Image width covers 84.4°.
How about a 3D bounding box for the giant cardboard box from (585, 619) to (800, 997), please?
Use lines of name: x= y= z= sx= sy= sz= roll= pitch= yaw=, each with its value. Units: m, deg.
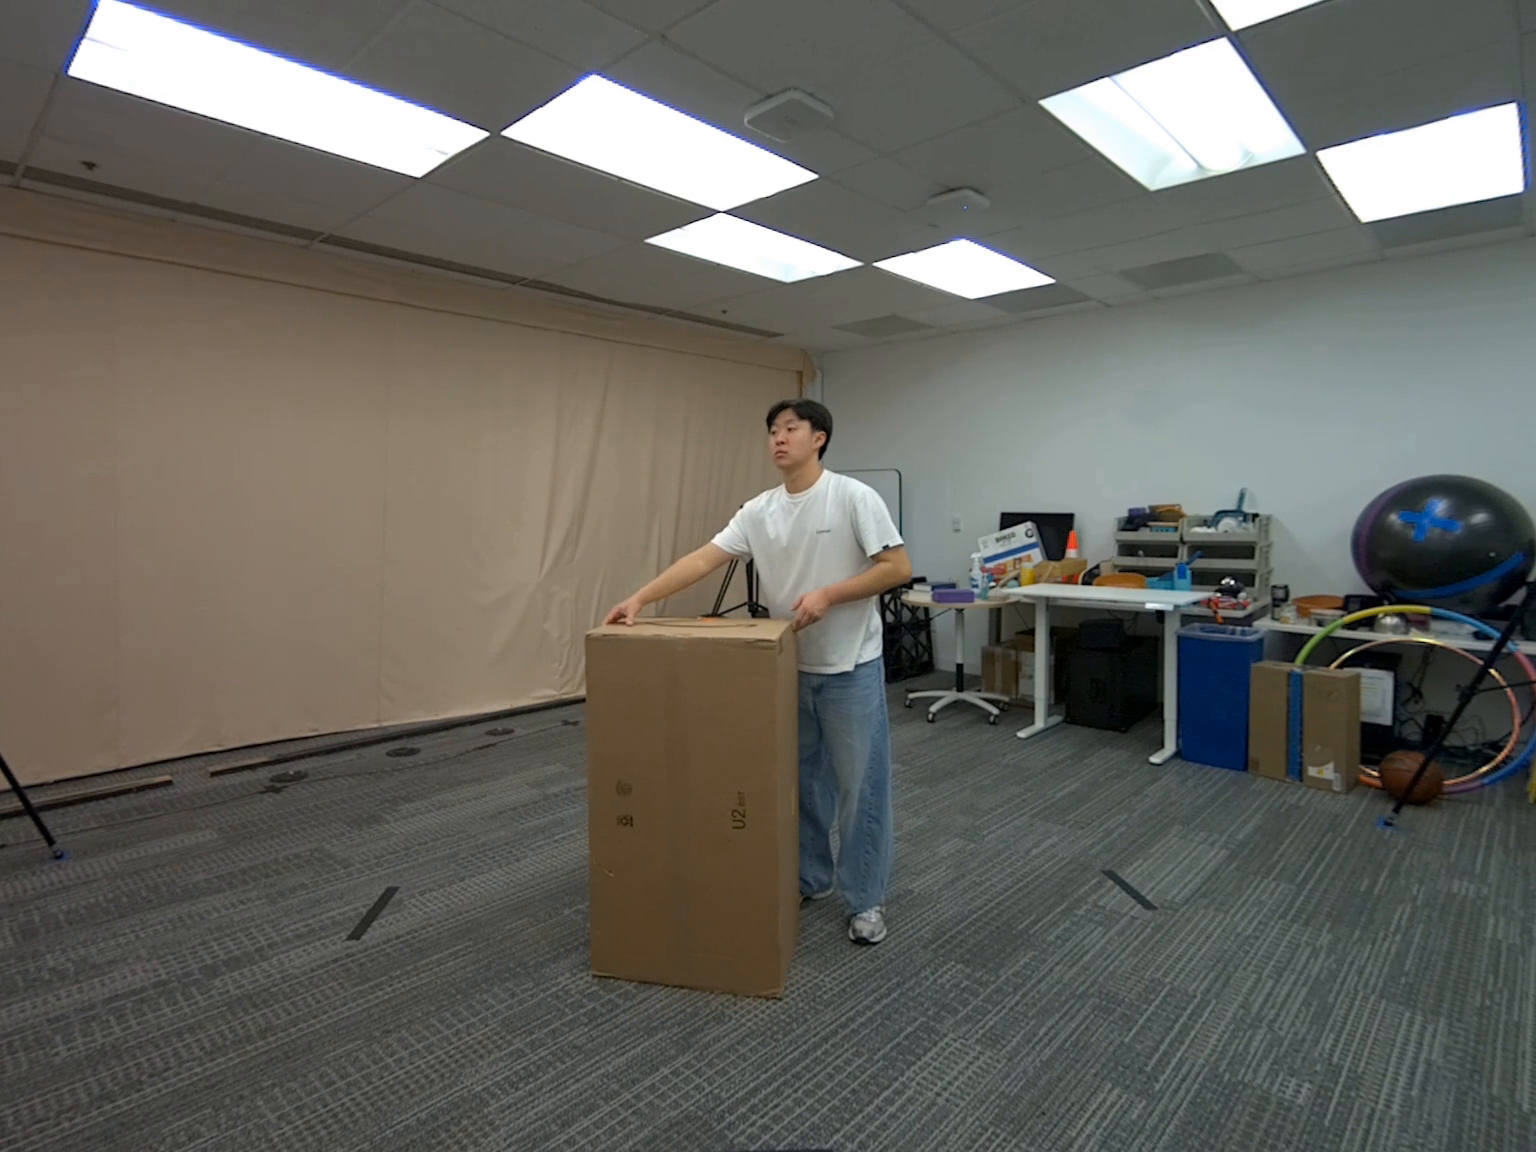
giant cardboard box: x=-0.222 y=0.667 z=2.611 sx=0.586 sy=1.024 sz=0.421 roll=0 pitch=2 yaw=13
